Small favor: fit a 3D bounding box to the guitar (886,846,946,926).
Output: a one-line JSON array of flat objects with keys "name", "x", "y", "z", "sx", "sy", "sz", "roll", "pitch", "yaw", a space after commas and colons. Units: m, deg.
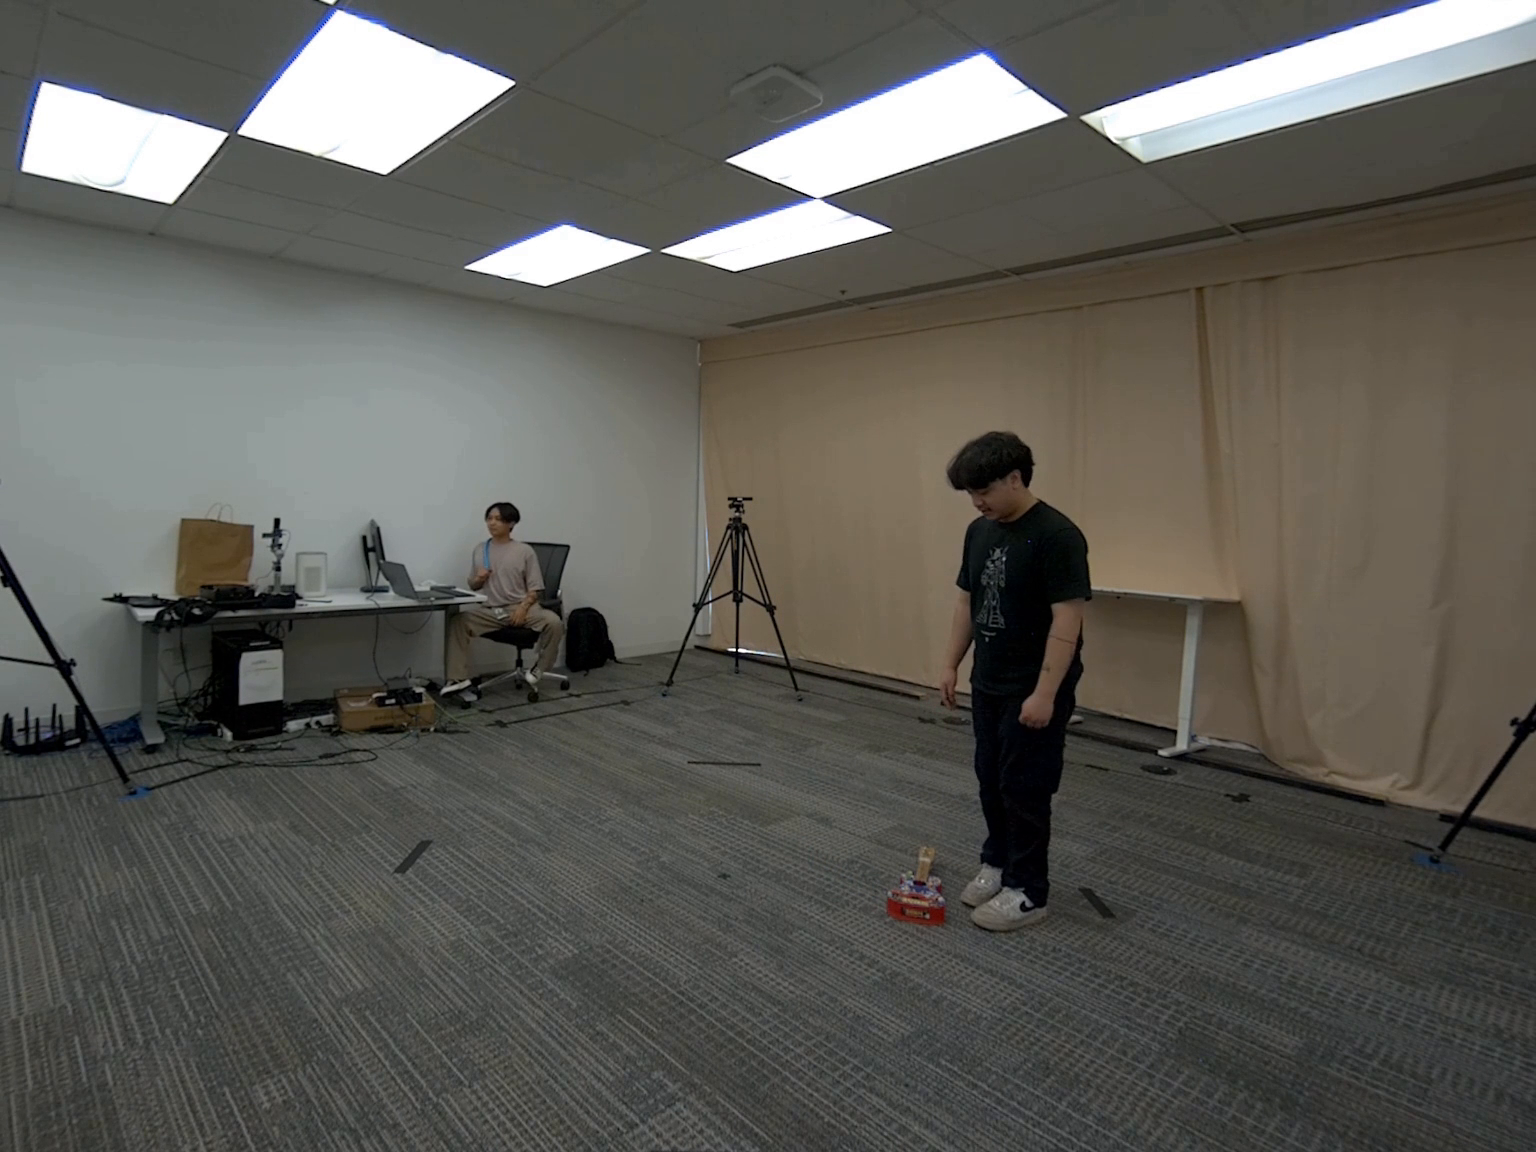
[{"name": "guitar", "x": 0.570, "y": 1.100, "z": 3.011, "sx": 0.197, "sy": 0.070, "sz": 0.490, "roll": 3, "pitch": 6, "yaw": 24}]
